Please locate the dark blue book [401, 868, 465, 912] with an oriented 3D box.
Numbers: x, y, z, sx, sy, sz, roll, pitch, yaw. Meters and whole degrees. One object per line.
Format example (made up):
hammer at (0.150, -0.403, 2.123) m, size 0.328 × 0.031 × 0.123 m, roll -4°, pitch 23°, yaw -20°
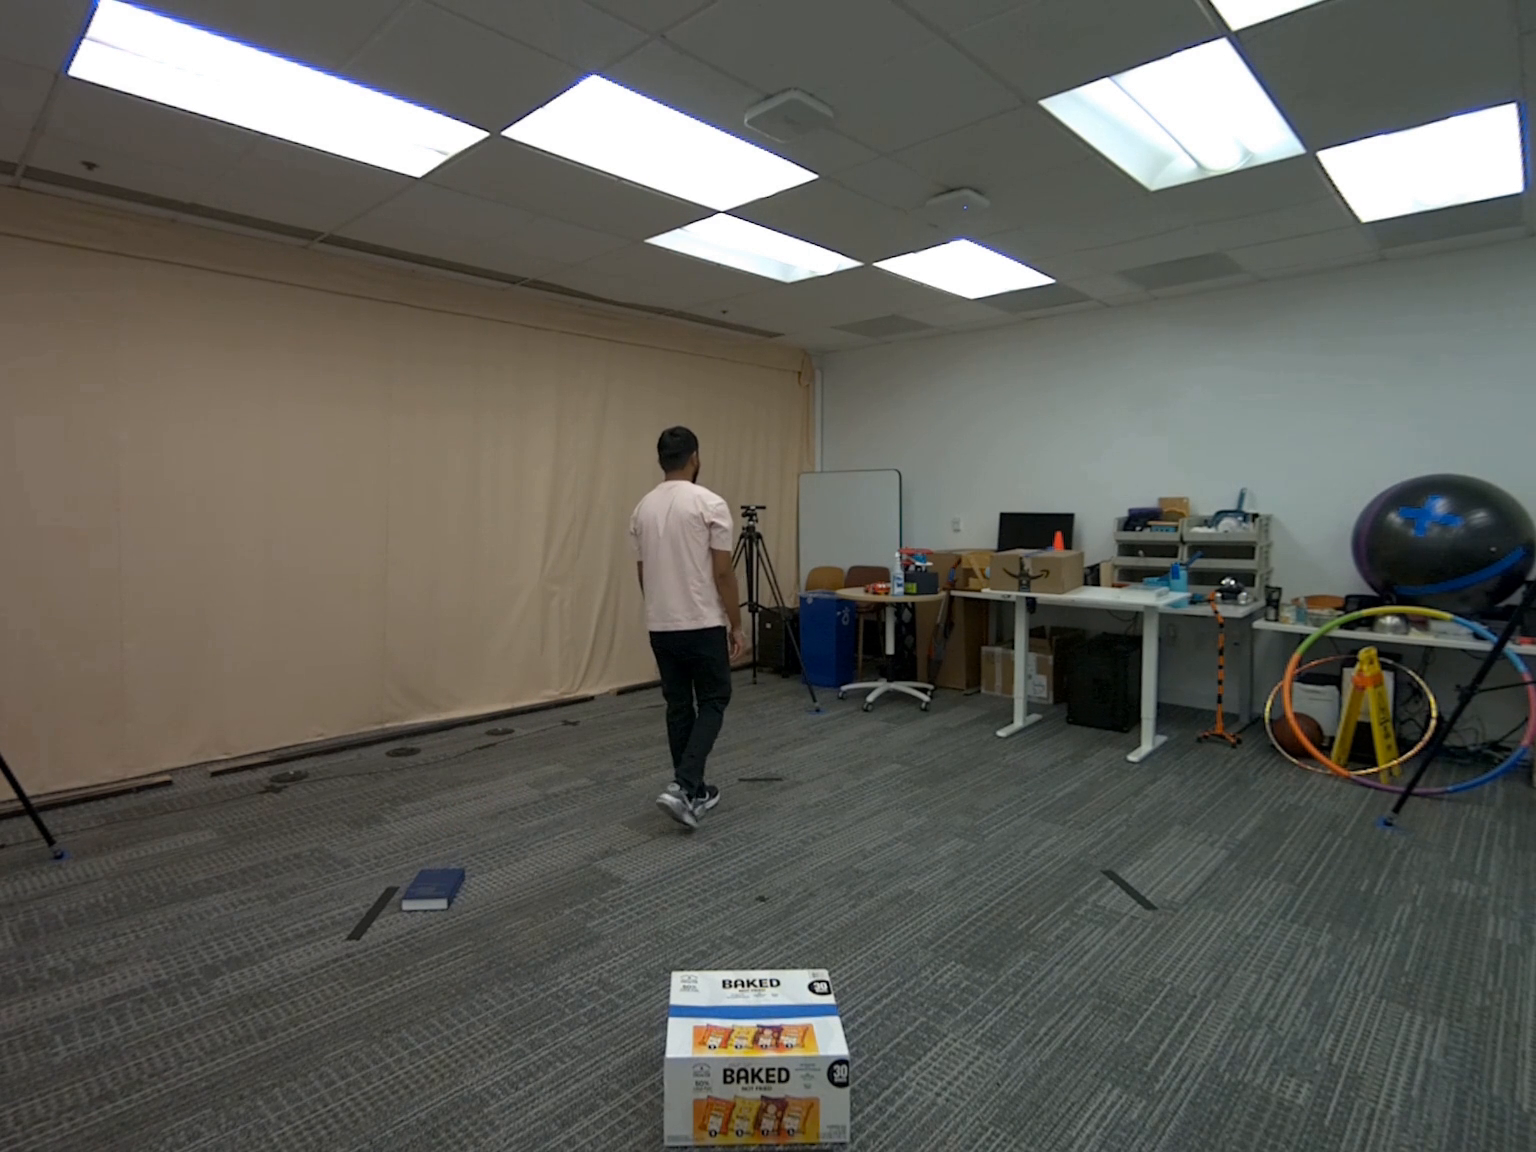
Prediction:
dark blue book at (-1.206, 1.129, 3.035) m, size 0.162 × 0.045 × 0.247 m, roll -2°, pitch 5°, yaw -6°
